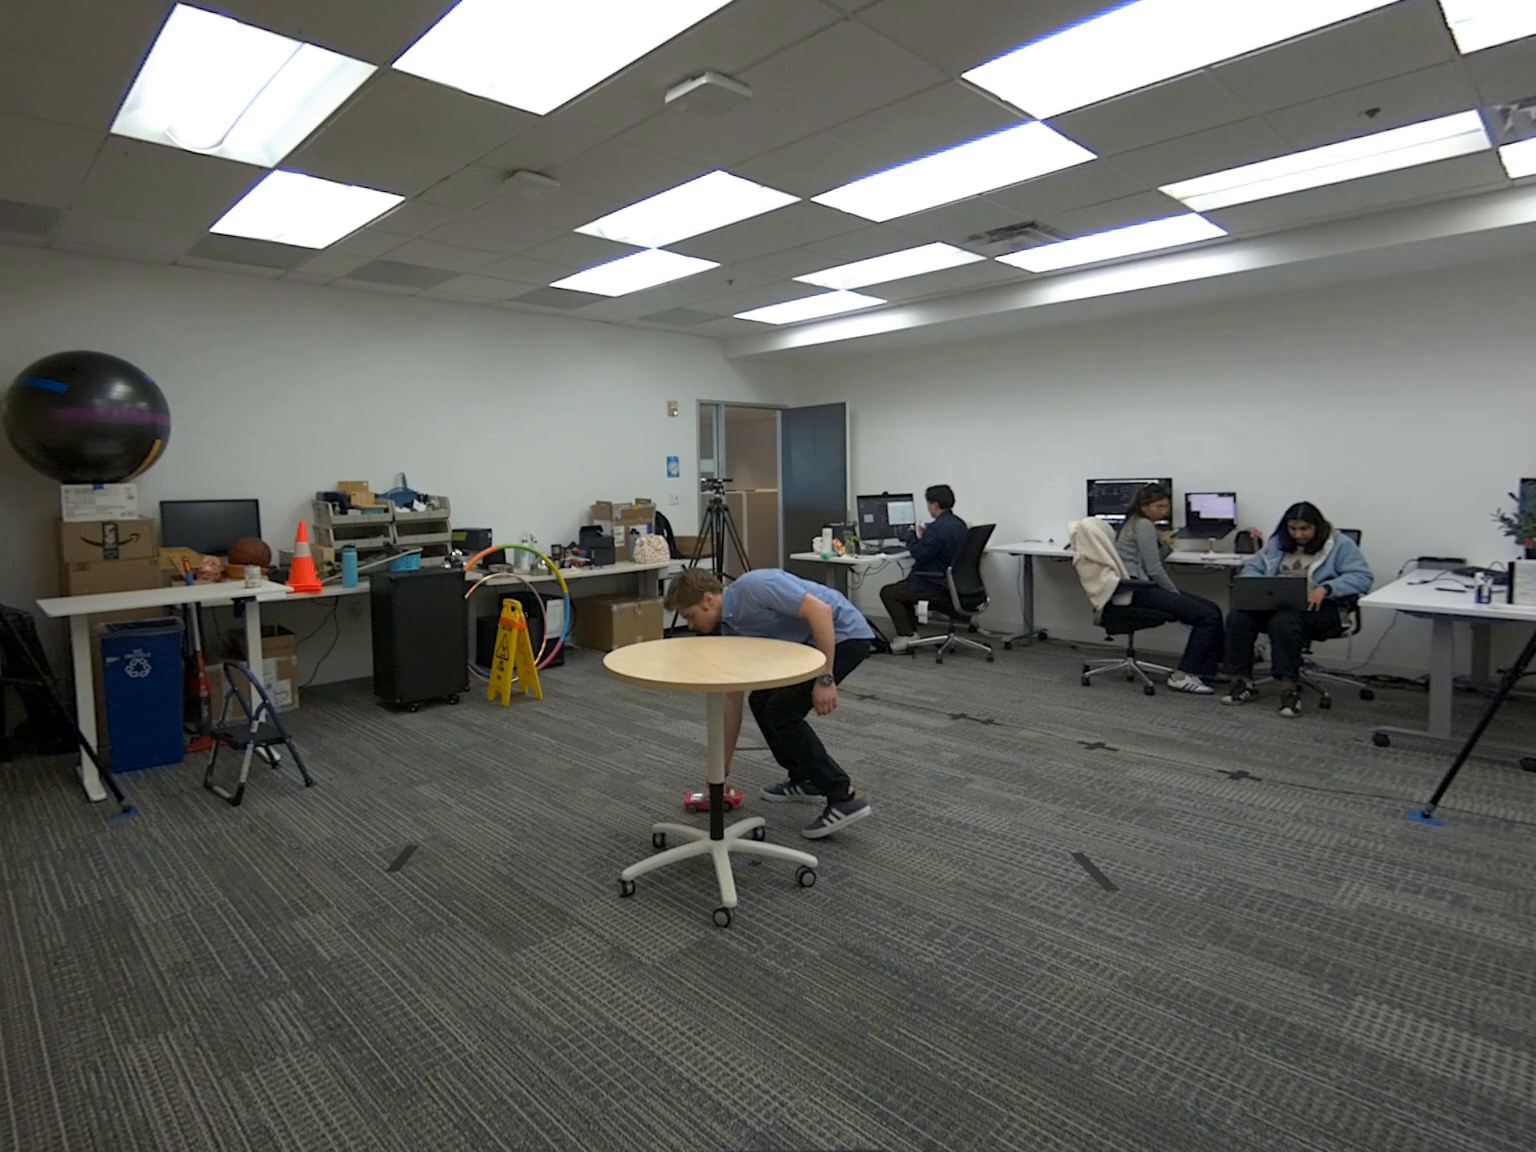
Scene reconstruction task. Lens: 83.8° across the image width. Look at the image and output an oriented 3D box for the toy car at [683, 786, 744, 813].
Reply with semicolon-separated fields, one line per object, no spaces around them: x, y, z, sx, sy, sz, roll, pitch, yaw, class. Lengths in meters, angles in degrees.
-0.231;0.958;3.643;0.254;0.082;0.131;-12;7;0;toy car
